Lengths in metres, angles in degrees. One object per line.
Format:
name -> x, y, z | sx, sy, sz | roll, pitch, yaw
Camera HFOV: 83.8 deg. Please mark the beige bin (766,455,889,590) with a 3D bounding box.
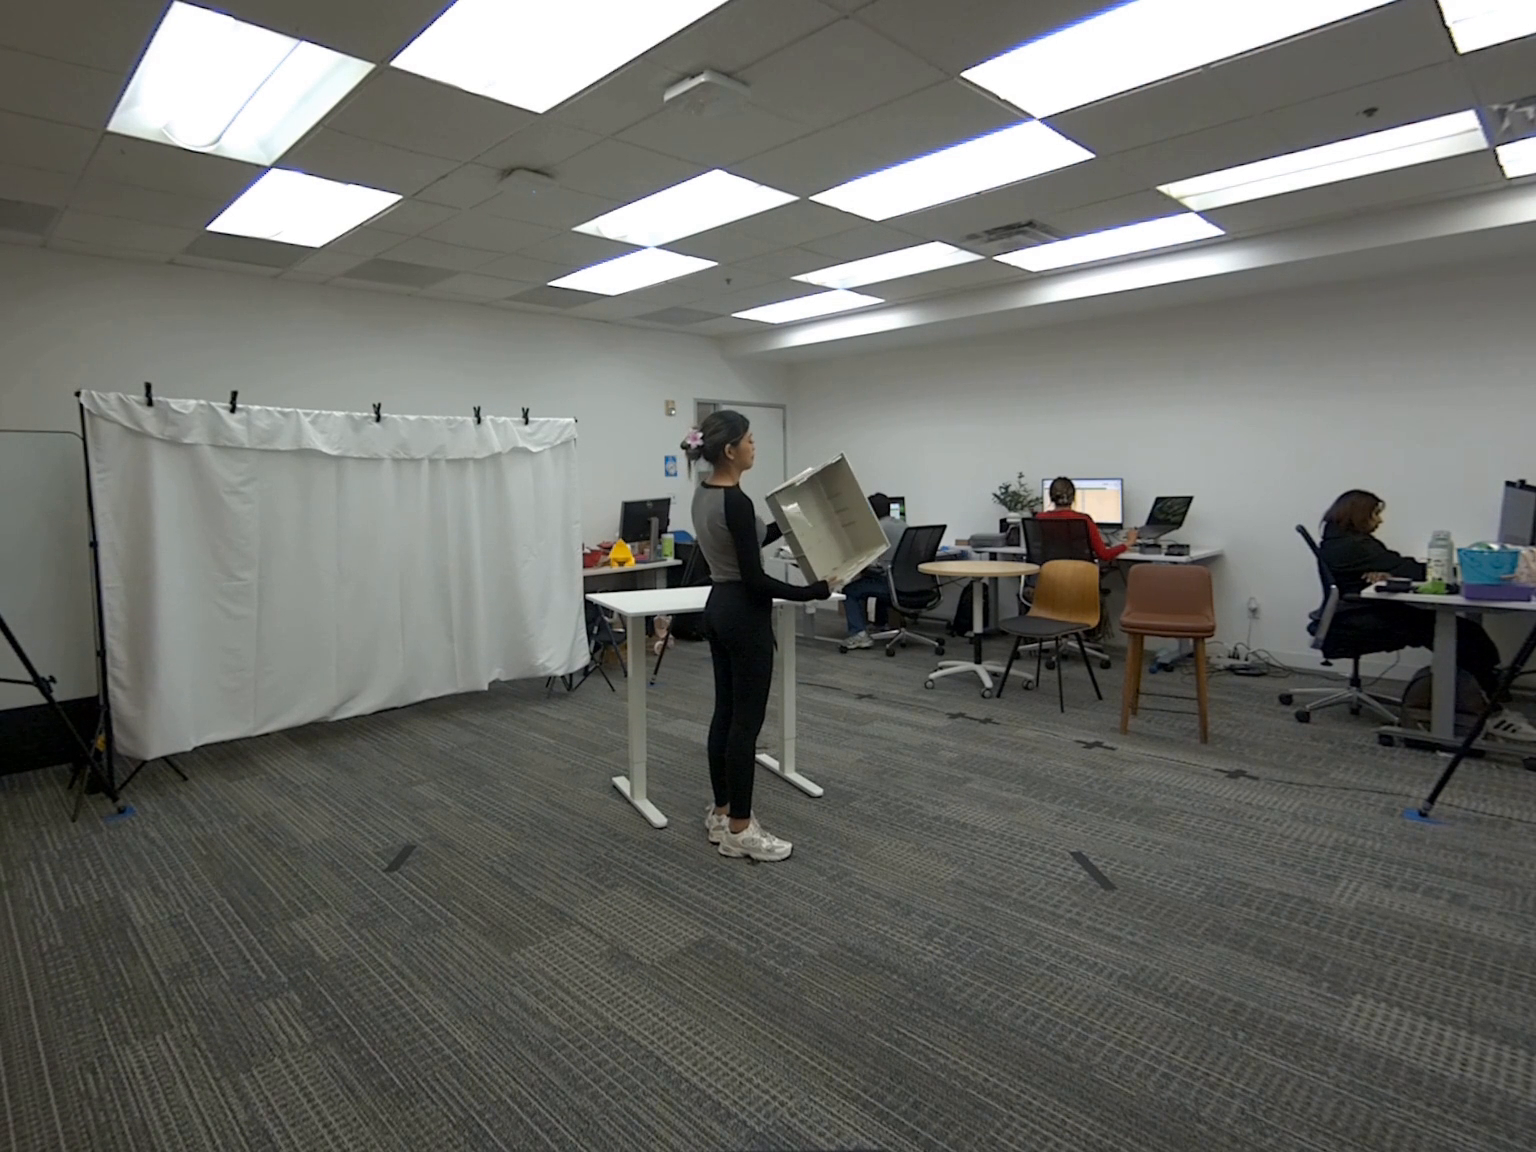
beige bin -> 0.224, -0.201, 3.303 | 0.192, 0.419, 0.374 | -23, 9, 45
